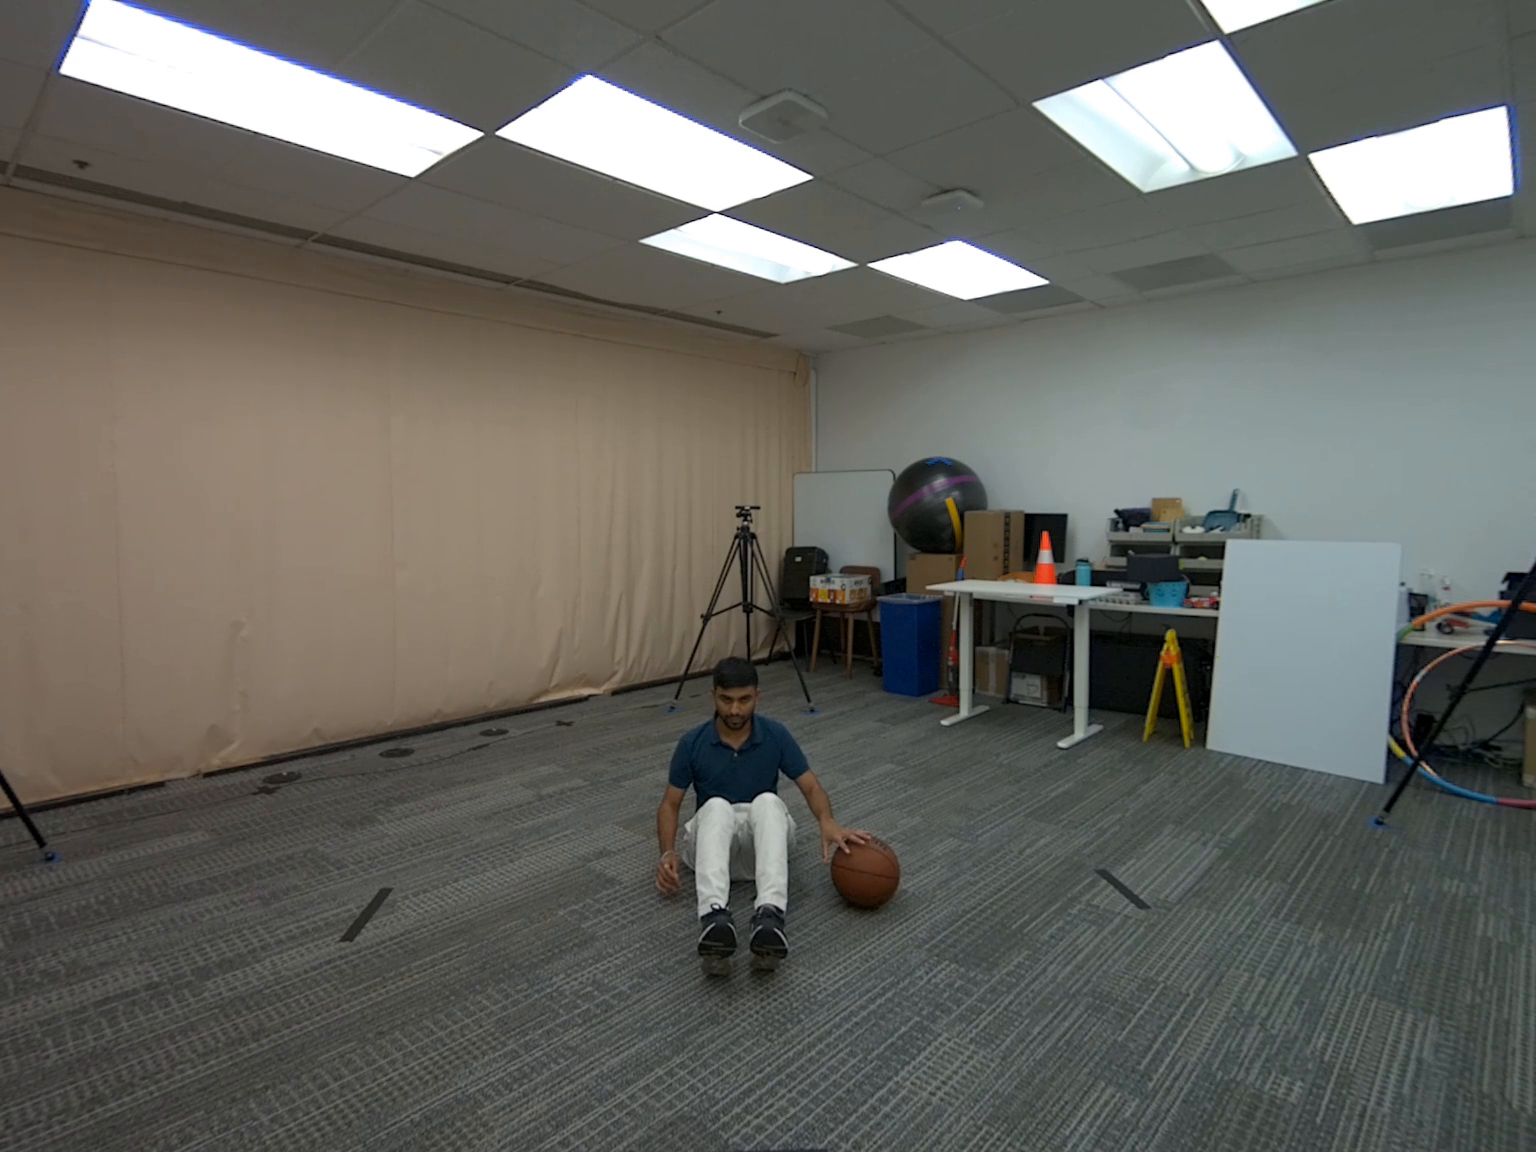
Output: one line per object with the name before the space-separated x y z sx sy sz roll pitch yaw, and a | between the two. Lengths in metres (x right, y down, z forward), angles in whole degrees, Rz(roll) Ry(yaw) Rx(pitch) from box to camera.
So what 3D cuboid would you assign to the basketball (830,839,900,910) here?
basketball | 0.343 1.024 2.928 0.236 0.235 0.237 0 4 -2
